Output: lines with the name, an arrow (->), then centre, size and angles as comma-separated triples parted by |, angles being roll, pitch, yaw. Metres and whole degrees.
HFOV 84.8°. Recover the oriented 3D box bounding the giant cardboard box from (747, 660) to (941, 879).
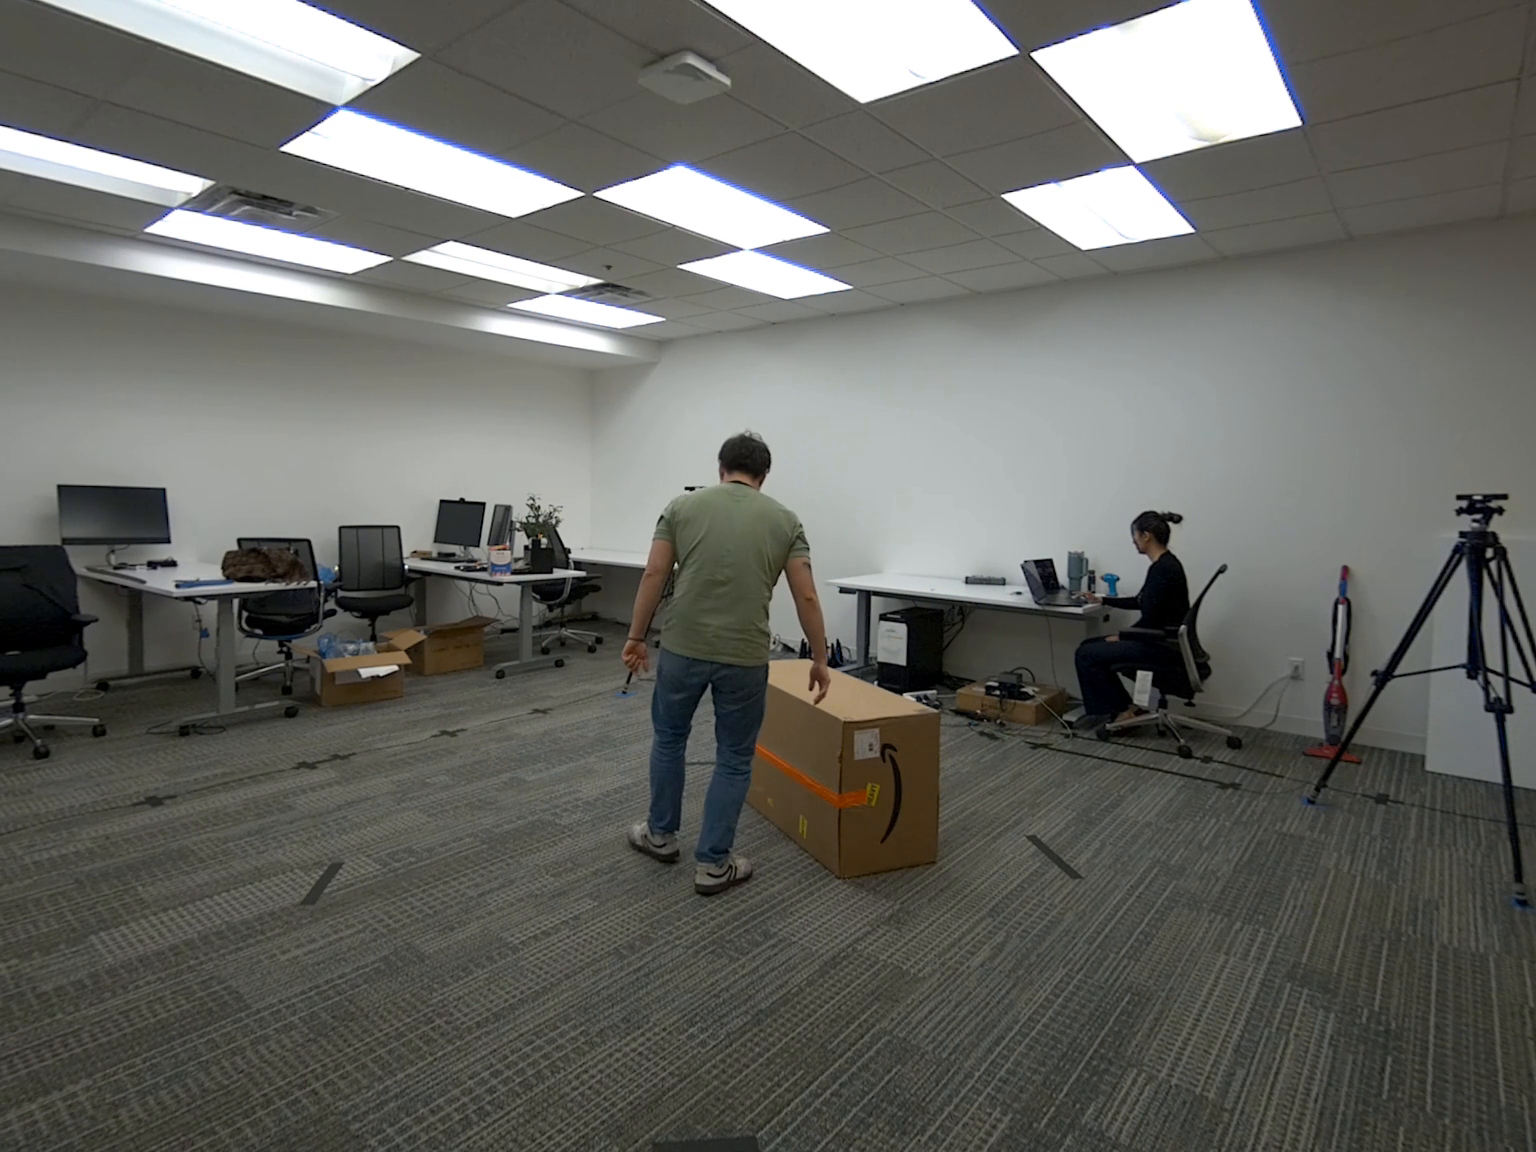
giant cardboard box -> 0.219, 0.736, 3.569 | 0.416, 0.575, 1.054 | -1, 5, -25
